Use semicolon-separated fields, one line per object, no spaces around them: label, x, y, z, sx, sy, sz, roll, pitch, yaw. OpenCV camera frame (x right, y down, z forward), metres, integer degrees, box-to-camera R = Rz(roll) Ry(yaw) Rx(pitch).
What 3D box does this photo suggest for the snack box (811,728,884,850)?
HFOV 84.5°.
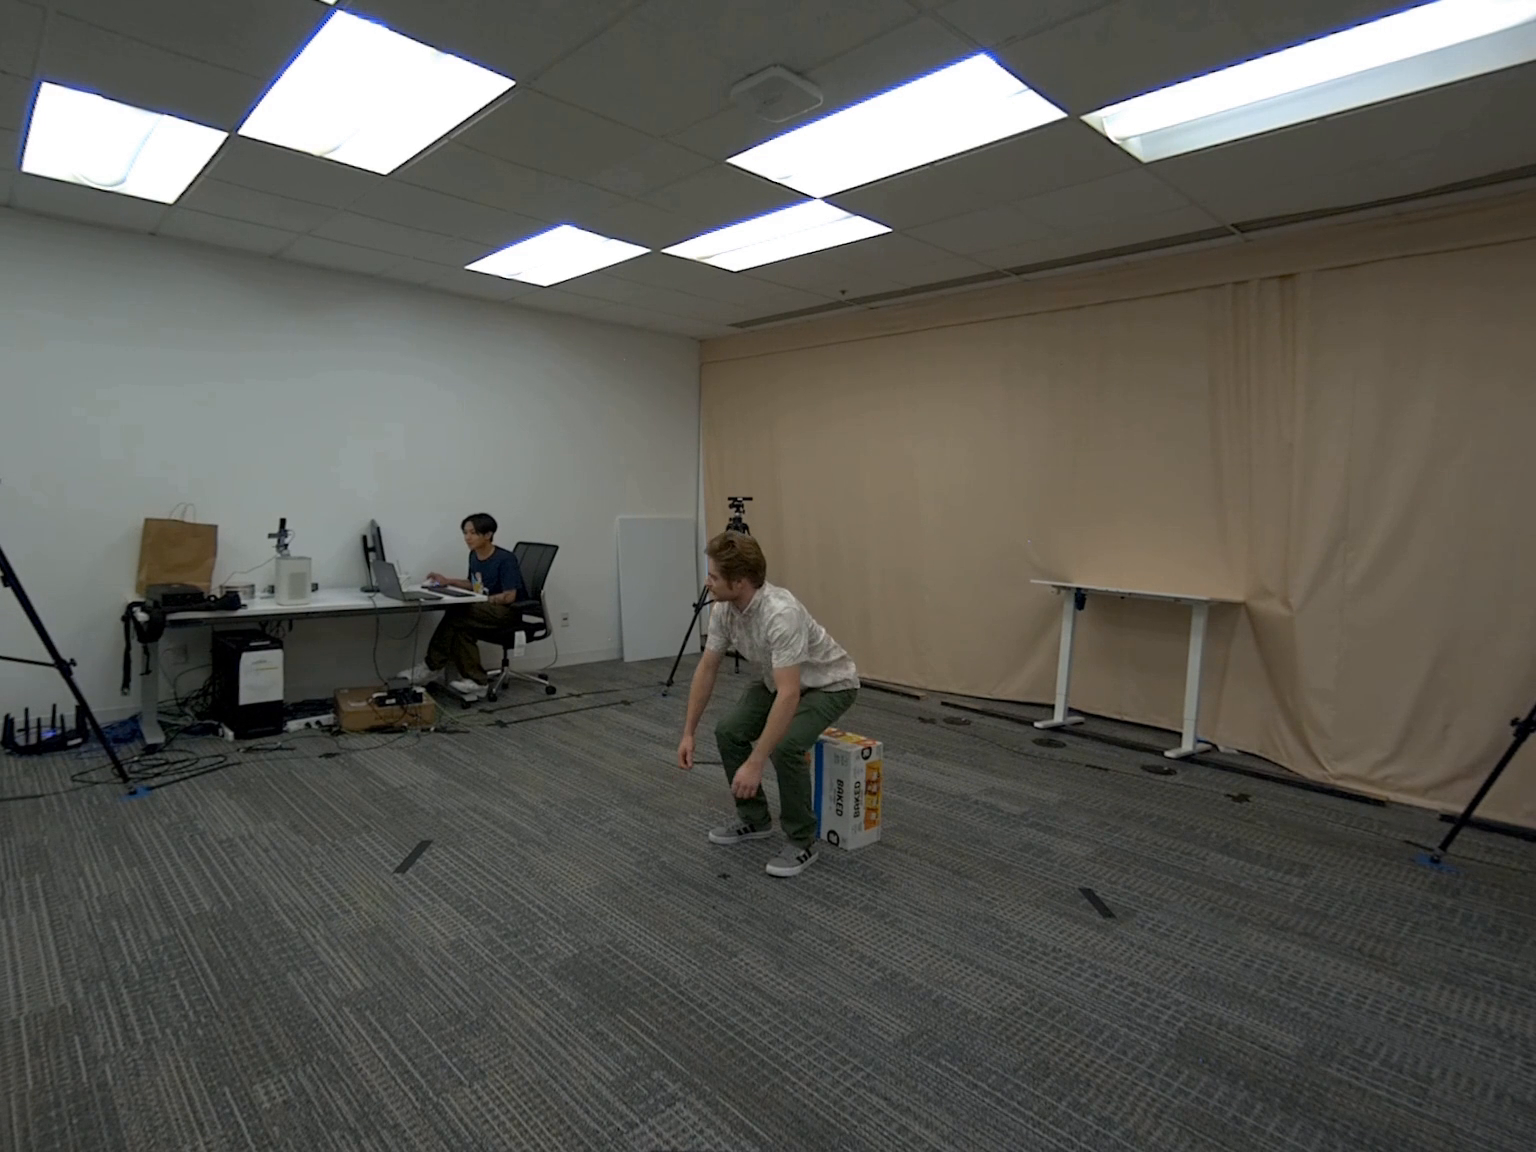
snack box;0.280;0.880;3.540;0.201;0.404;0.349;-2;5;-41
